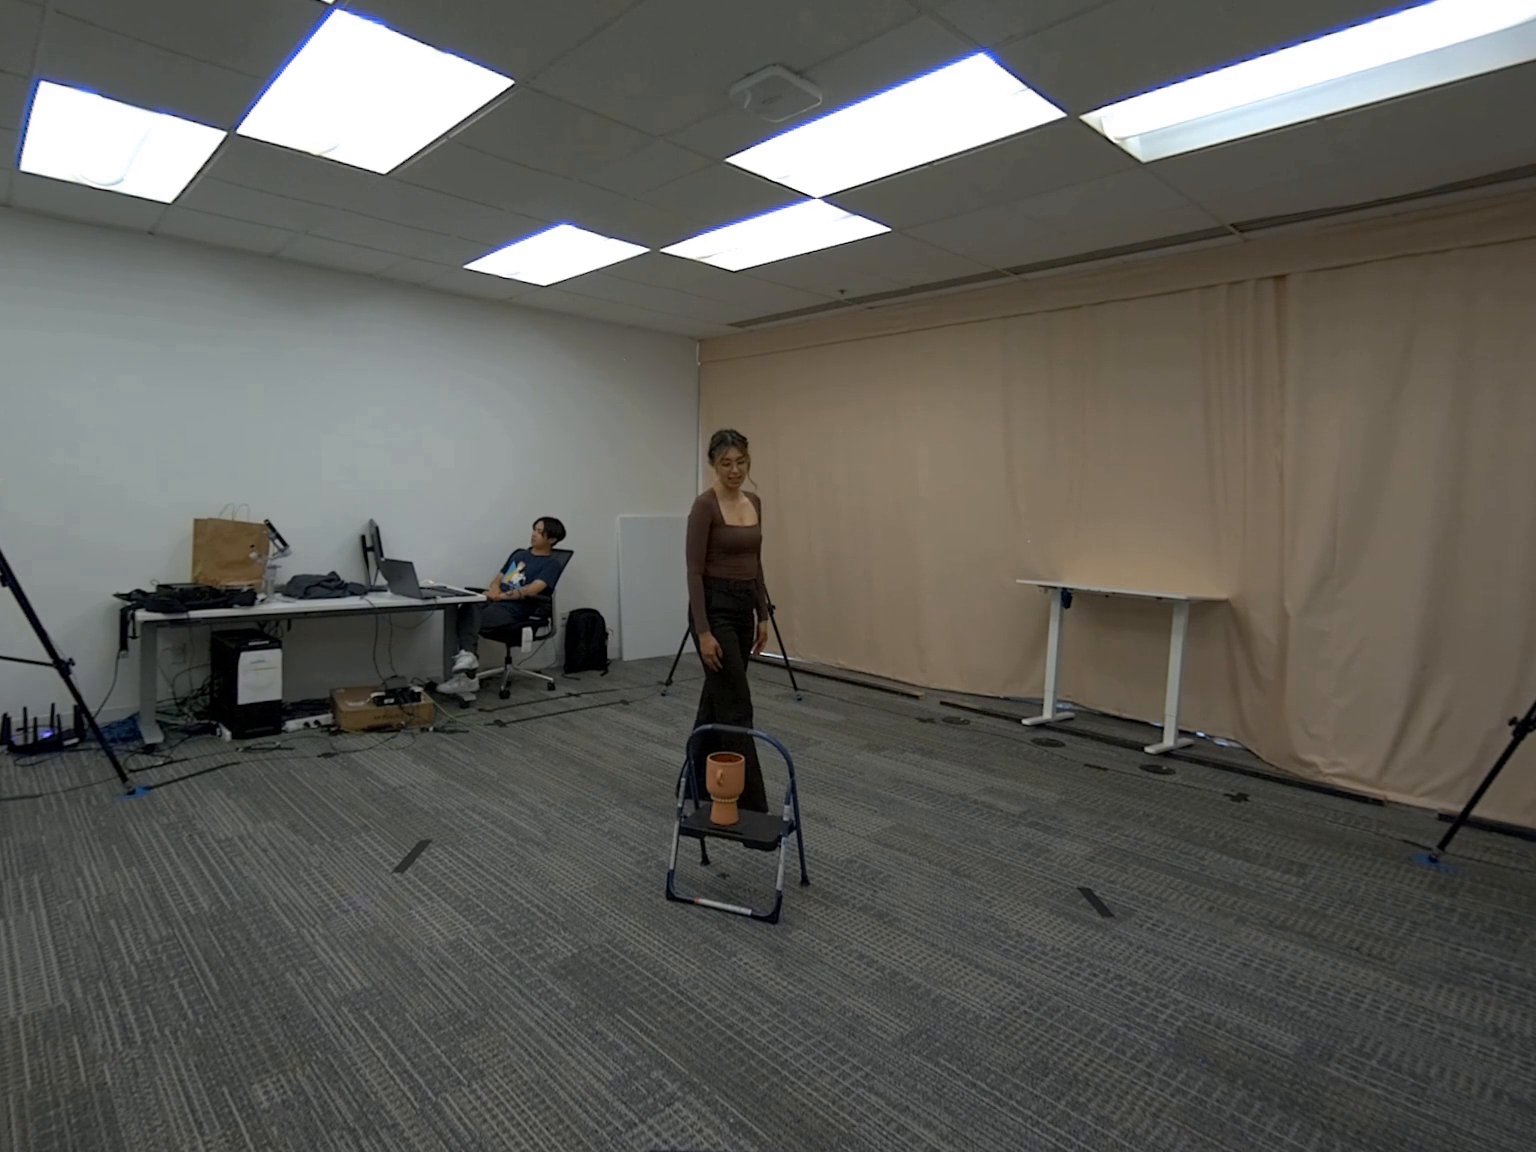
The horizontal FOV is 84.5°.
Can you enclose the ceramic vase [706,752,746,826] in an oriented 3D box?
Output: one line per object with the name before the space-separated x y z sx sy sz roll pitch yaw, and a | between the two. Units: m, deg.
ceramic vase | -0.158 0.752 2.950 0.155 0.219 0.138 -1 4 -35
